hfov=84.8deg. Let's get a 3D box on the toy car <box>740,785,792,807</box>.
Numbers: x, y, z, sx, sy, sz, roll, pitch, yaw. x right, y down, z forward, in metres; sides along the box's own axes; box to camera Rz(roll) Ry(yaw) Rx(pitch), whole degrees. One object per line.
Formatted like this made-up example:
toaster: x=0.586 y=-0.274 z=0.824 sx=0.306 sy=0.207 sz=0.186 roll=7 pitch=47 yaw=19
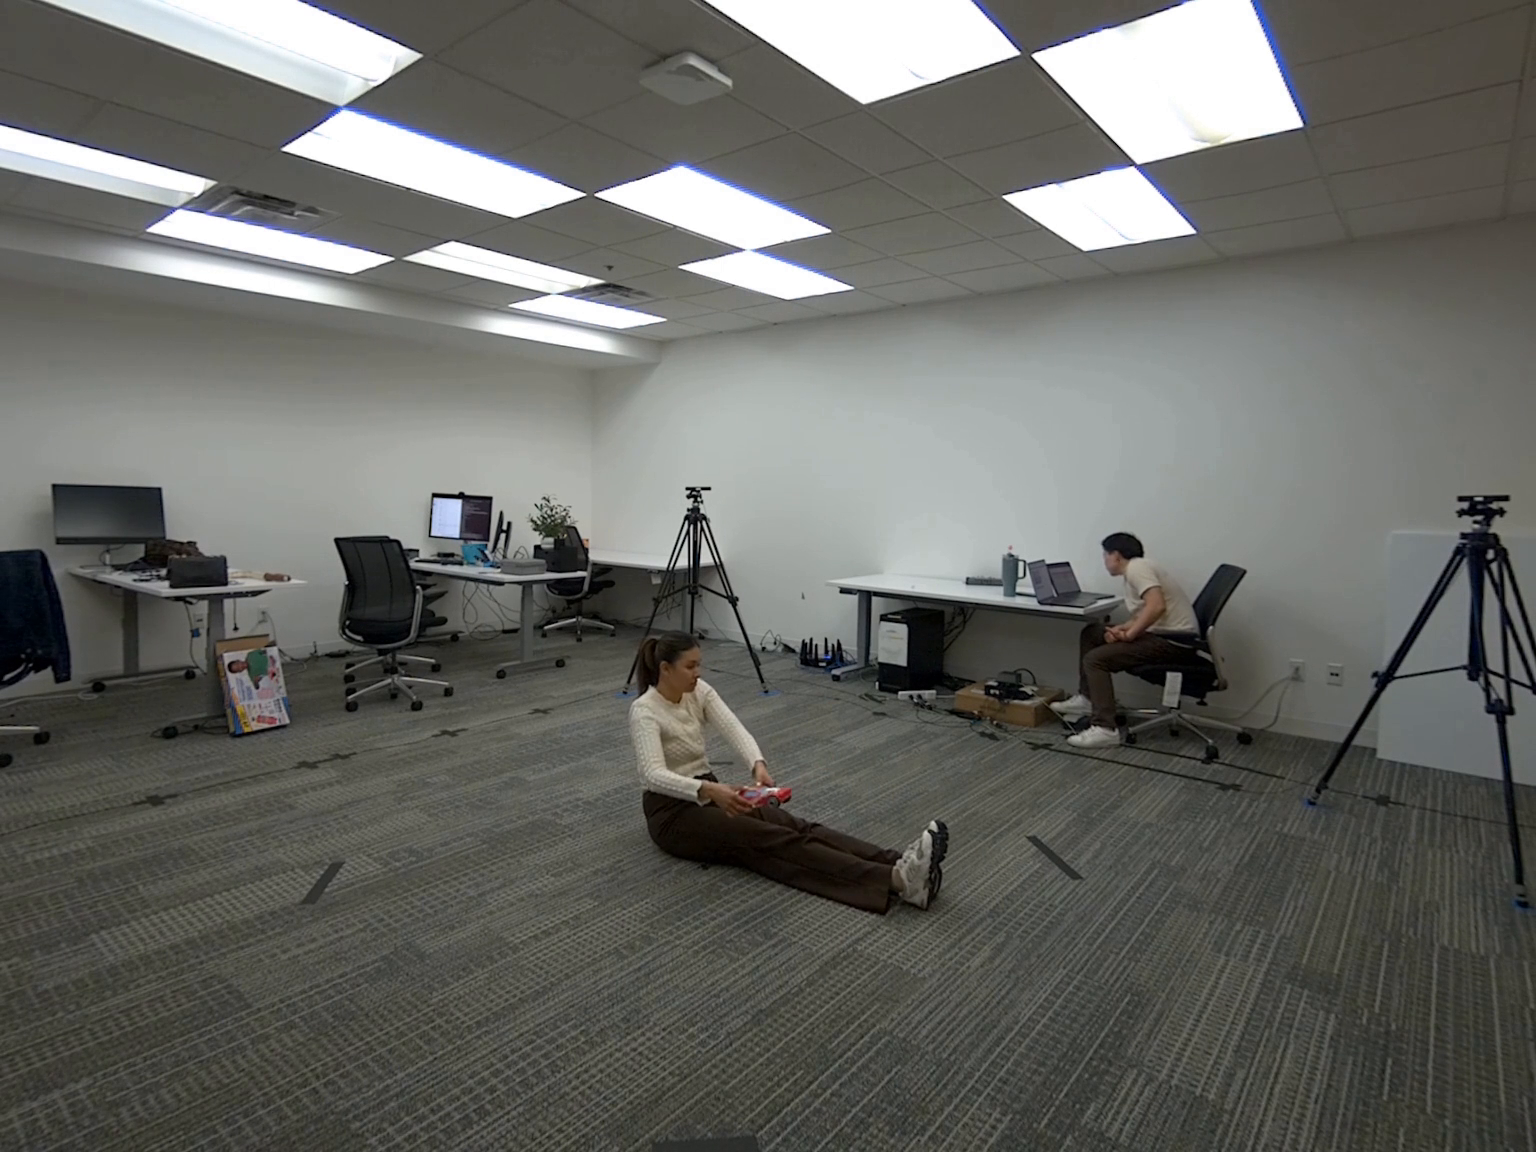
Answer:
toy car: x=-0.053 y=0.763 z=2.918 sx=0.261 sy=0.083 sz=0.127 roll=-5 pitch=-3 yaw=27
